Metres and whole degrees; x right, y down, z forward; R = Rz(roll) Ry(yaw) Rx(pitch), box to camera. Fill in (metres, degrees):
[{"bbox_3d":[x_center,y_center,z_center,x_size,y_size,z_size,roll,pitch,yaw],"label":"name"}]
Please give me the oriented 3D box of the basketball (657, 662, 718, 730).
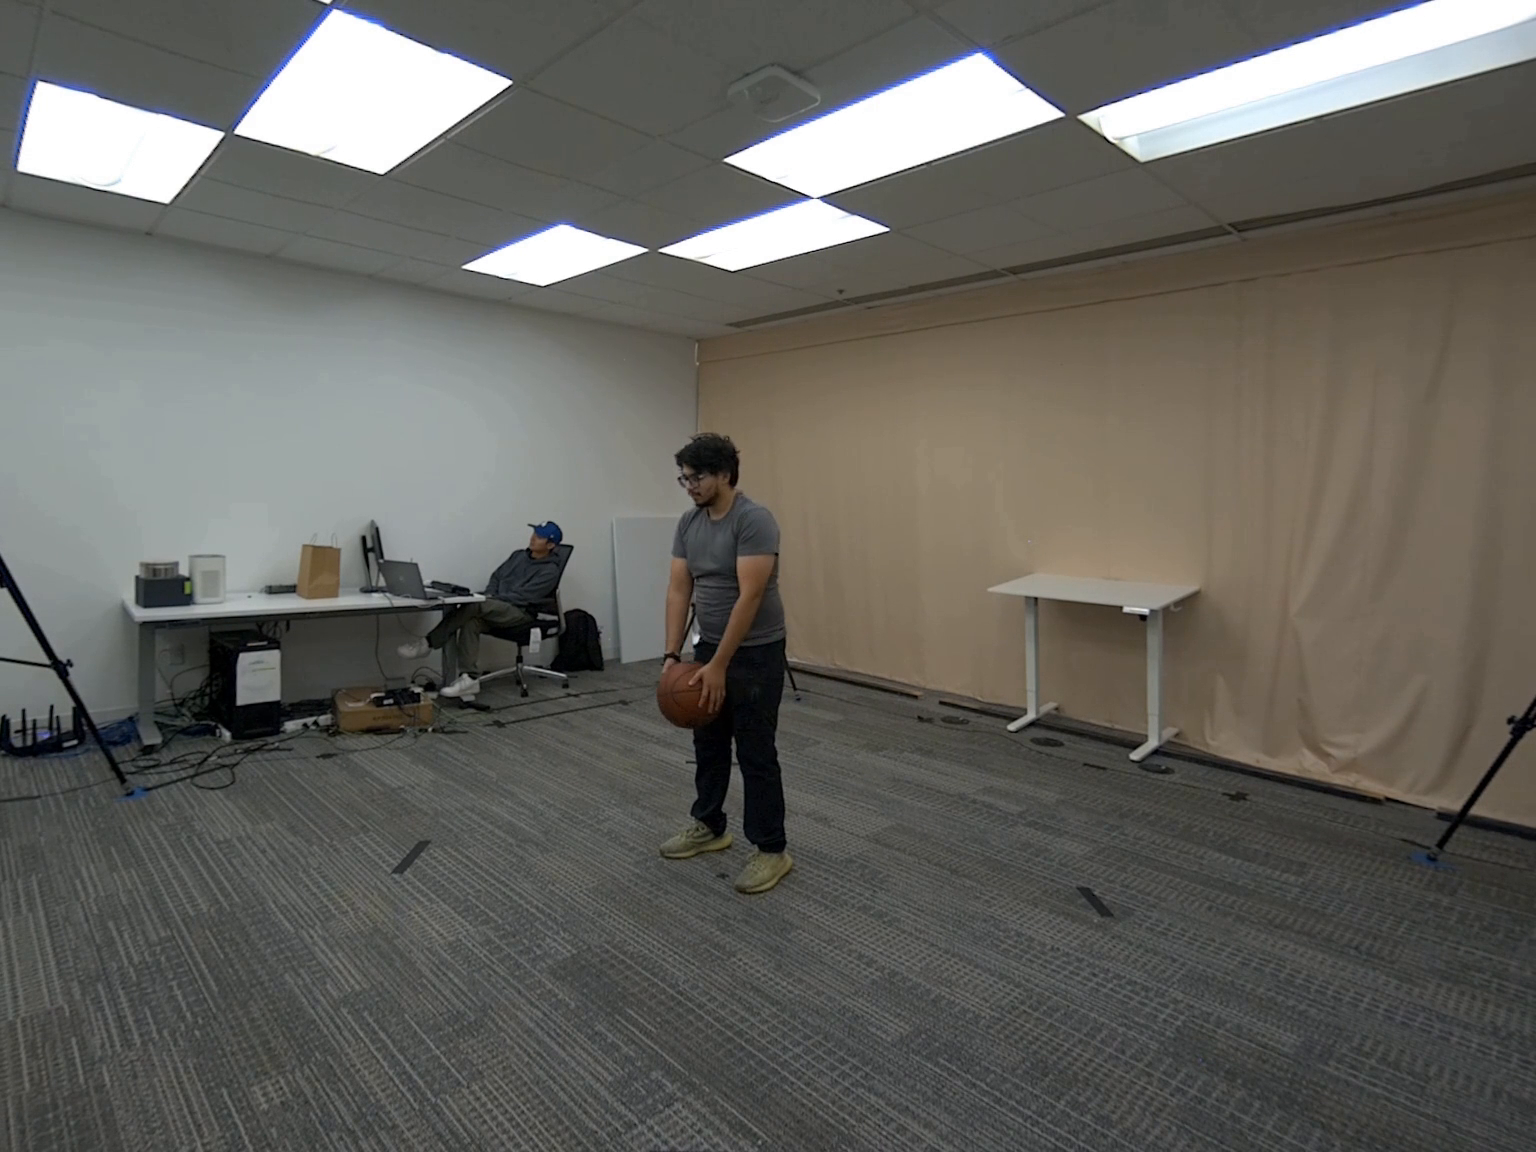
[{"bbox_3d":[-0.283,0.417,2.983,0.236,0.235,0.237,1,4,-1],"label":"basketball"}]
